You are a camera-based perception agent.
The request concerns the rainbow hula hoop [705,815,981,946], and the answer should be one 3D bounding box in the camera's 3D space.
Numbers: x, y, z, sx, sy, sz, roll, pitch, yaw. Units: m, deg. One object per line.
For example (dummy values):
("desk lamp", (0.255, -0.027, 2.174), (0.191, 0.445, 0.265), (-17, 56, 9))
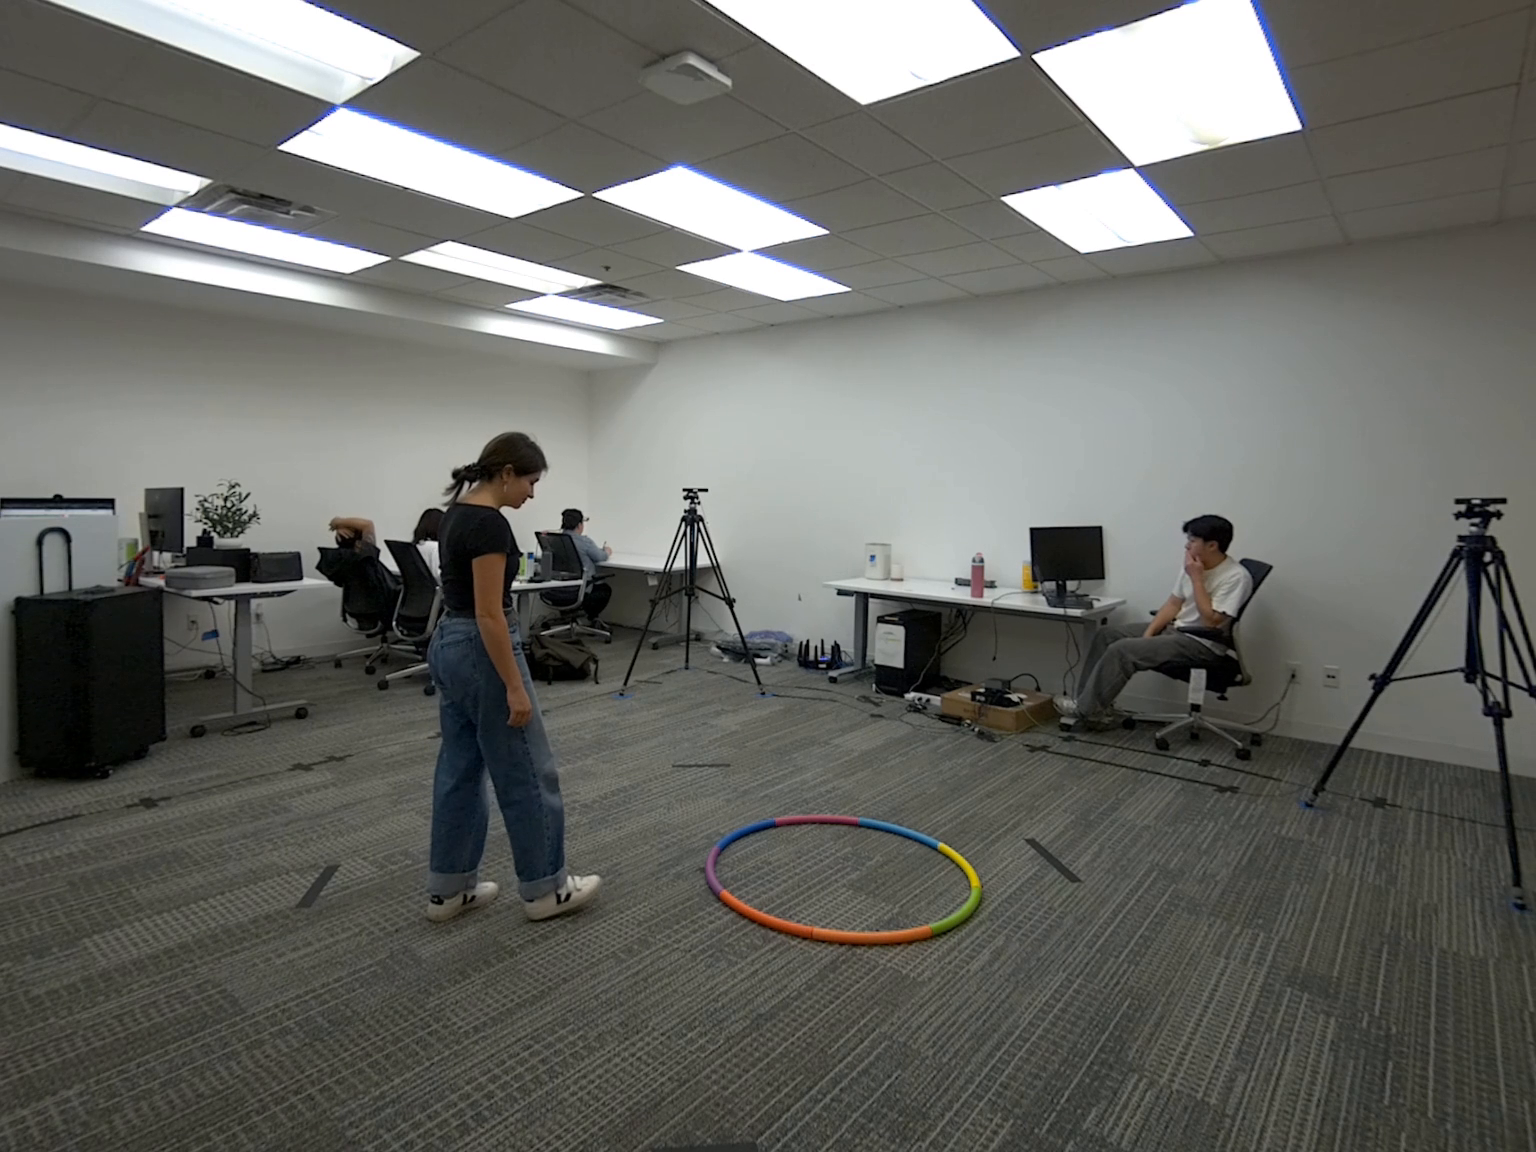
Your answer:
("rainbow hula hoop", (0.260, 1.045, 3.093), (0.978, 0.035, 0.984), (1, 6, -2))
